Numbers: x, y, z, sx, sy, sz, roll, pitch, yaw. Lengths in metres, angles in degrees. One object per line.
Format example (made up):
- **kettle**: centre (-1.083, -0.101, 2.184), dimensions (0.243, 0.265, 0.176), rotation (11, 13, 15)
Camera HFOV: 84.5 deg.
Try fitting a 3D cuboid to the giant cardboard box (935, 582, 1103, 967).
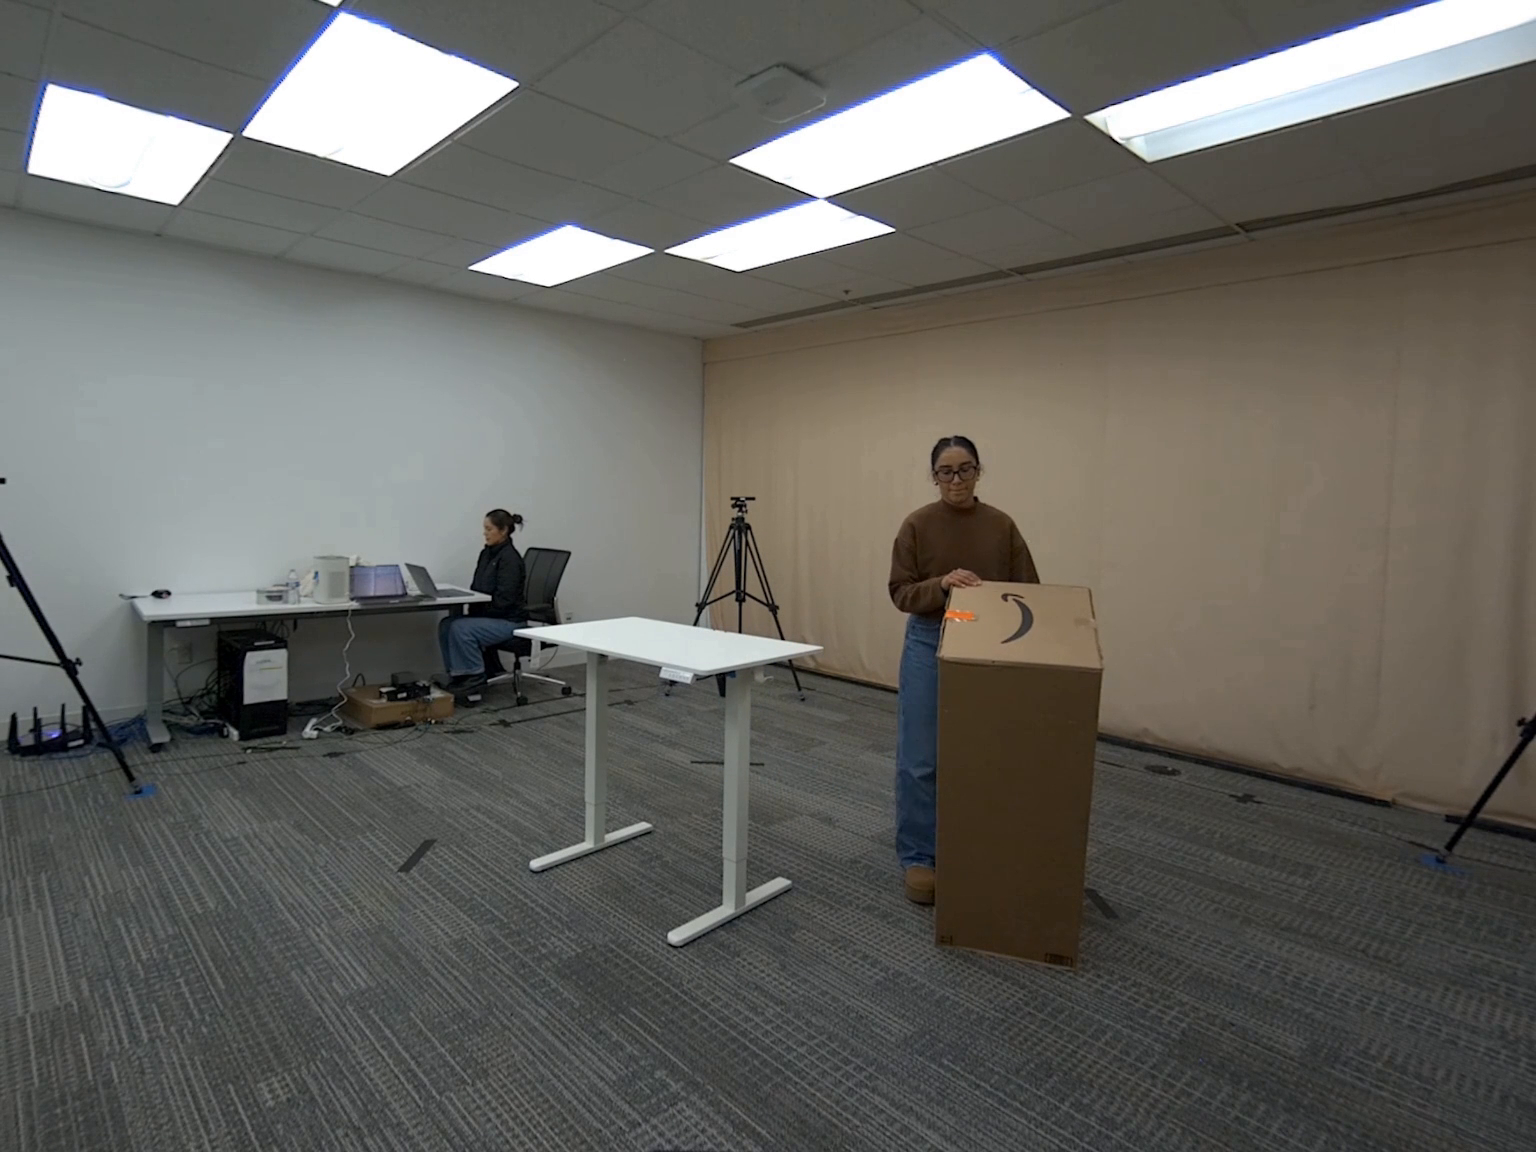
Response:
- **giant cardboard box**: centre (0.778, 0.598, 2.675), dimensions (0.432, 1.011, 0.579), rotation (1, 20, 15)
